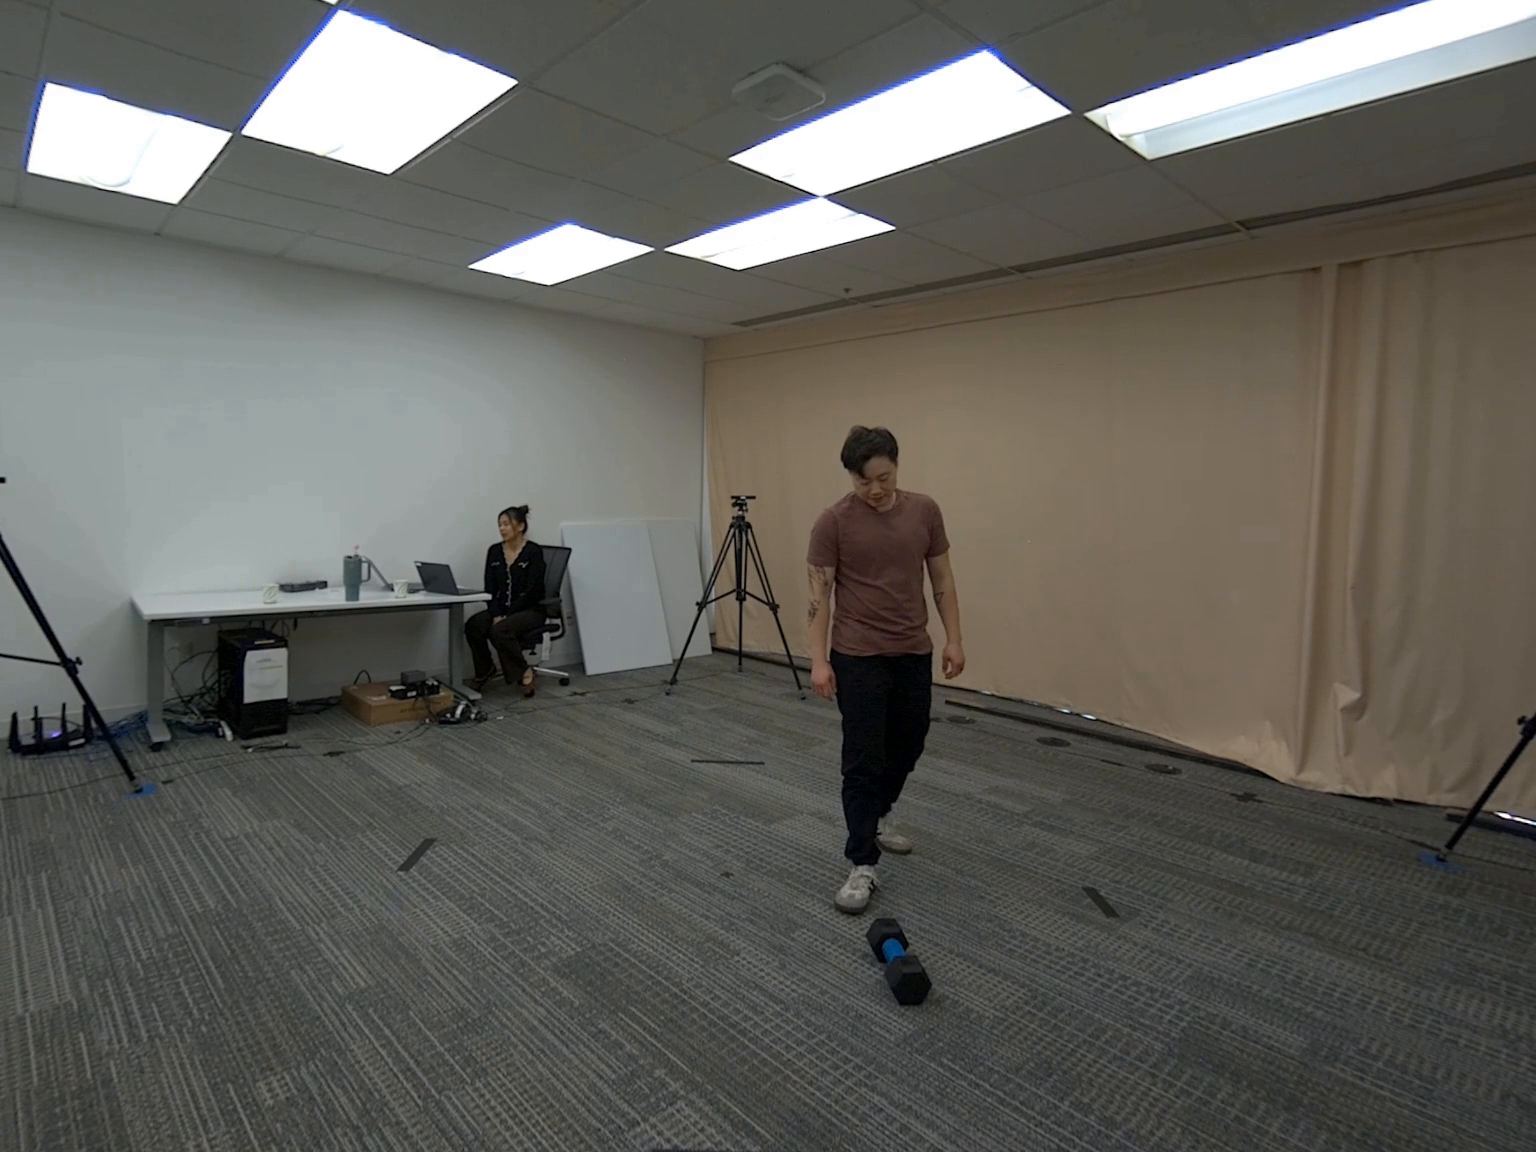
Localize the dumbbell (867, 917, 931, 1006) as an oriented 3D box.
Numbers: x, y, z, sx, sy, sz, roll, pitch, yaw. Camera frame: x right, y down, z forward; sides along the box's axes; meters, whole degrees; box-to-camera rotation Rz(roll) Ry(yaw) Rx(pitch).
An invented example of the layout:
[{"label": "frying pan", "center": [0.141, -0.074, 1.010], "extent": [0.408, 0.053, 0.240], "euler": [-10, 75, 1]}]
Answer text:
[{"label": "dumbbell", "center": [0.365, 1.124, 2.457], "extent": [0.122, 0.108, 0.296], "euler": [1, 5, -6]}]
